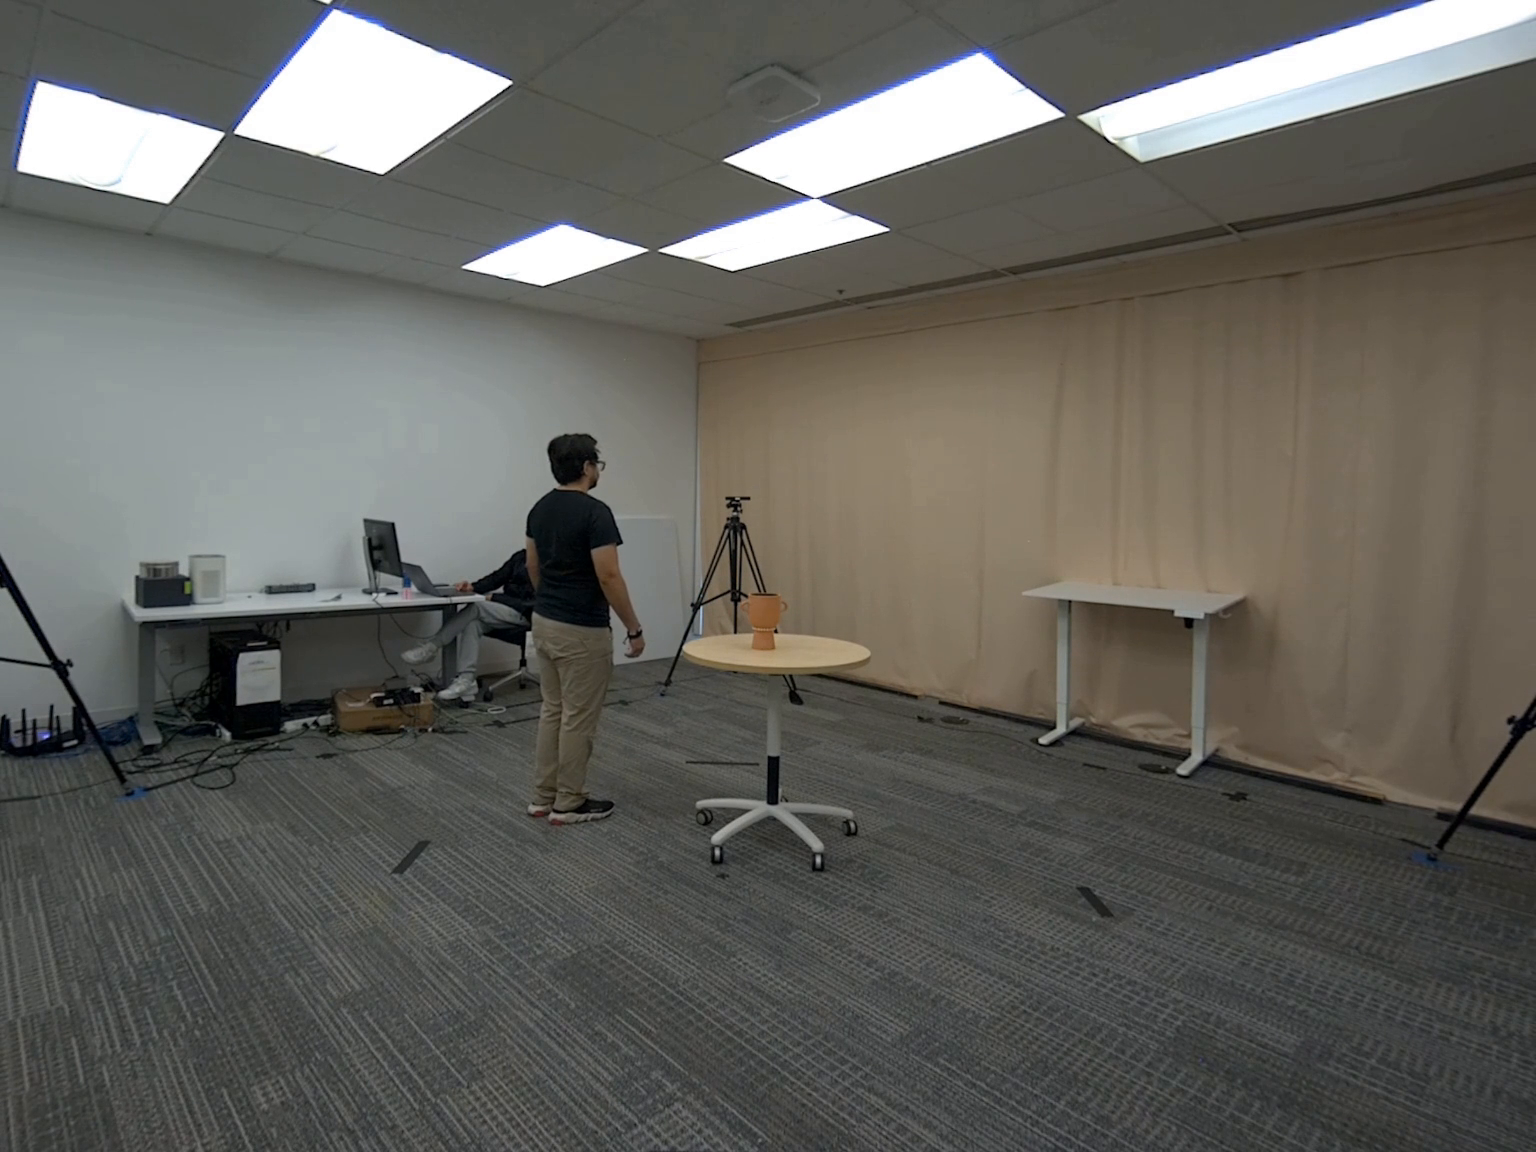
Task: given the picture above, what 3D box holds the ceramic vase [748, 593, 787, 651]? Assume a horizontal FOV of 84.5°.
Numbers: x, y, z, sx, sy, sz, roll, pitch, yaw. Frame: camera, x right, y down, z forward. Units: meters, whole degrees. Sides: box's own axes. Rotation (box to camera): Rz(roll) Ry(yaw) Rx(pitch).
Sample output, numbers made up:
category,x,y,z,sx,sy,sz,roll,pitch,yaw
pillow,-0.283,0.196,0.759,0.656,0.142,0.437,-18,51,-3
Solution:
category,x,y,z,sx,sy,sz,roll,pitch,yaw
ceramic vase,-0.022,0.187,3.447,0.162,0.219,0.132,4,5,27
